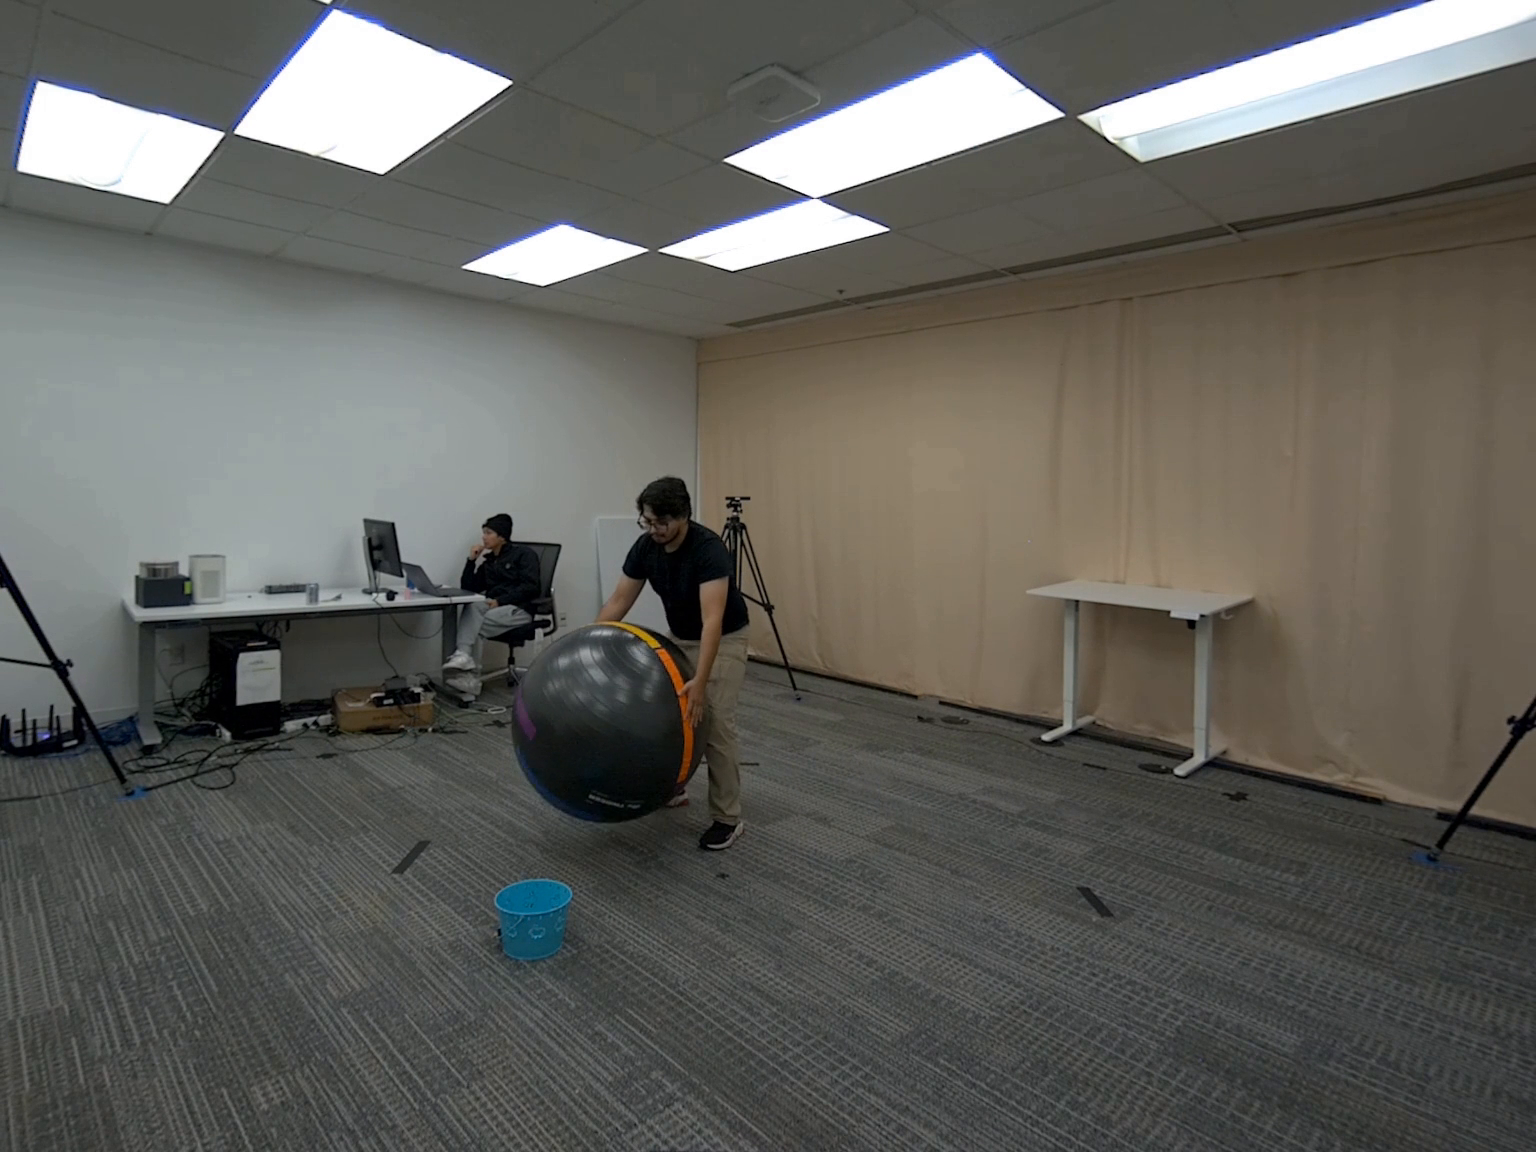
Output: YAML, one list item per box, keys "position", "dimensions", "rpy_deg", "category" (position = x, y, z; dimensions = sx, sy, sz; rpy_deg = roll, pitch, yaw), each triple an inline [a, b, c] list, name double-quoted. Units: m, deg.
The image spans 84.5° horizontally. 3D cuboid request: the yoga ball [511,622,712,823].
- position: [-0.619, 0.561, 3.261]
  dimensions: [0.757, 0.756, 0.761]
  rpy_deg: [1, 4, -1]
  category: "yoga ball"
